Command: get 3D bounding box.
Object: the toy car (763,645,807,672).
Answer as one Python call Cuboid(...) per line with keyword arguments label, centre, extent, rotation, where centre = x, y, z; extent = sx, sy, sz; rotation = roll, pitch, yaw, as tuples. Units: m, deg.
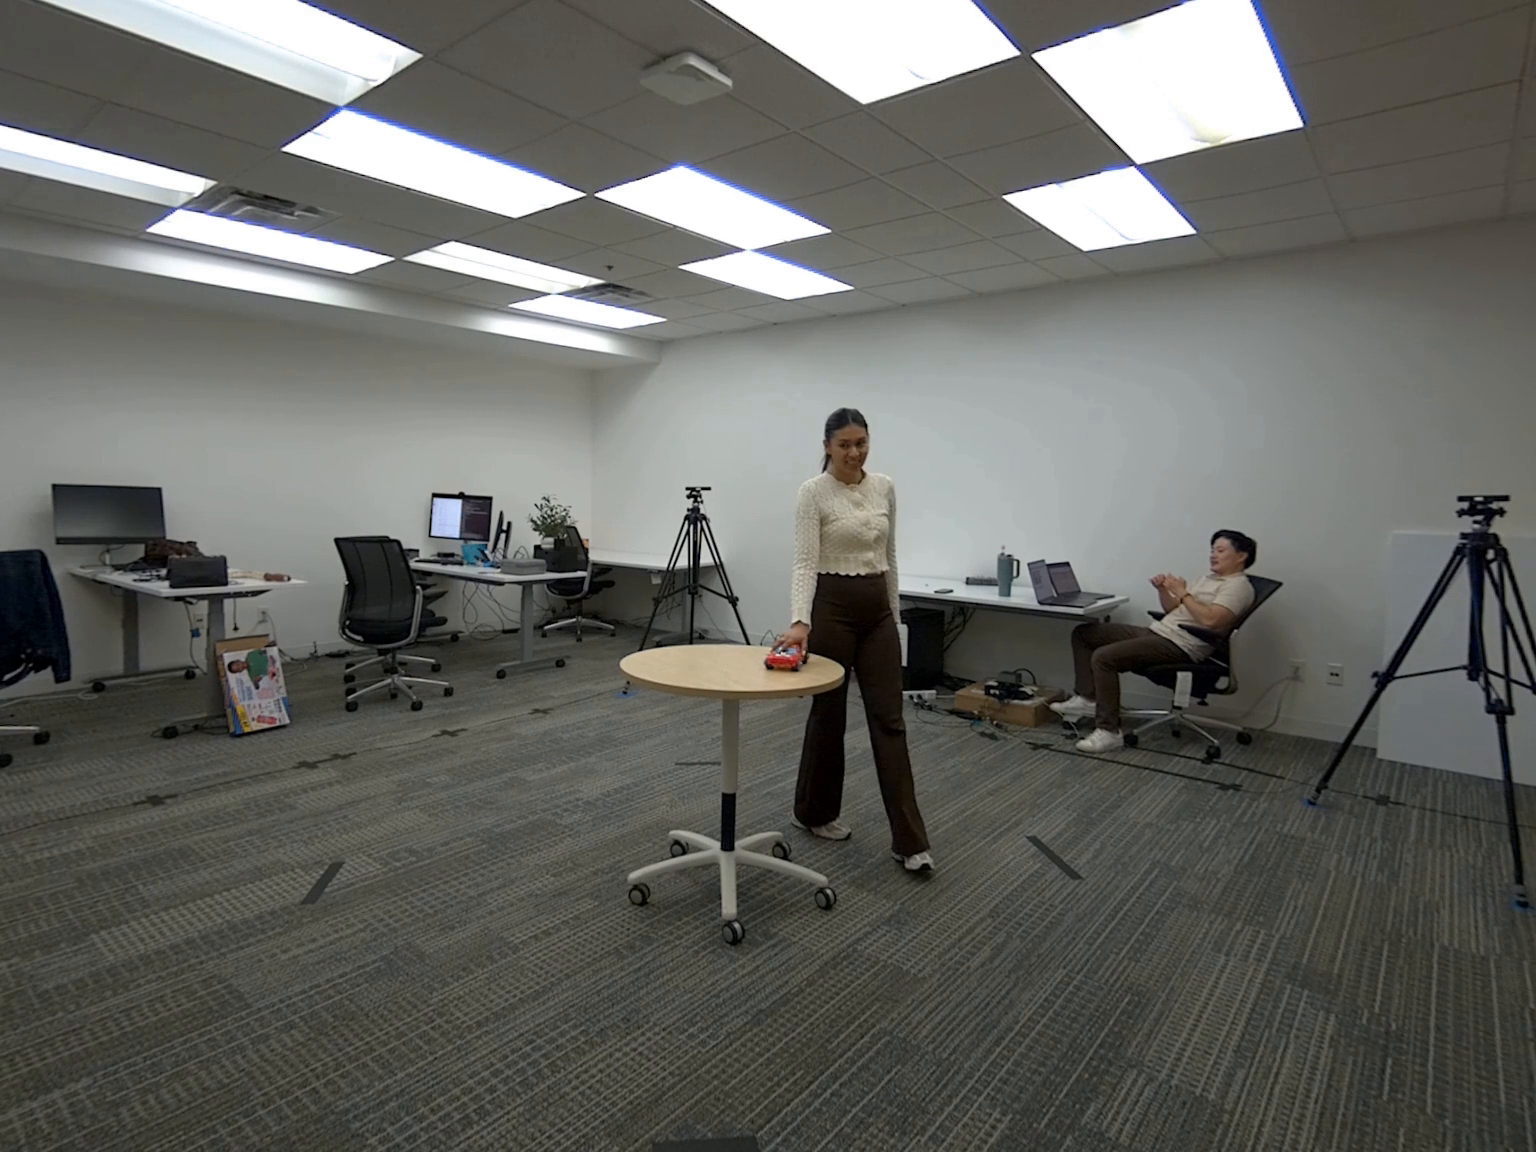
Cuboid(label="toy car", centre=(0.064, 0.272, 2.945), extent=(0.132, 0.082, 0.254), rotation=(2, 16, 12))
